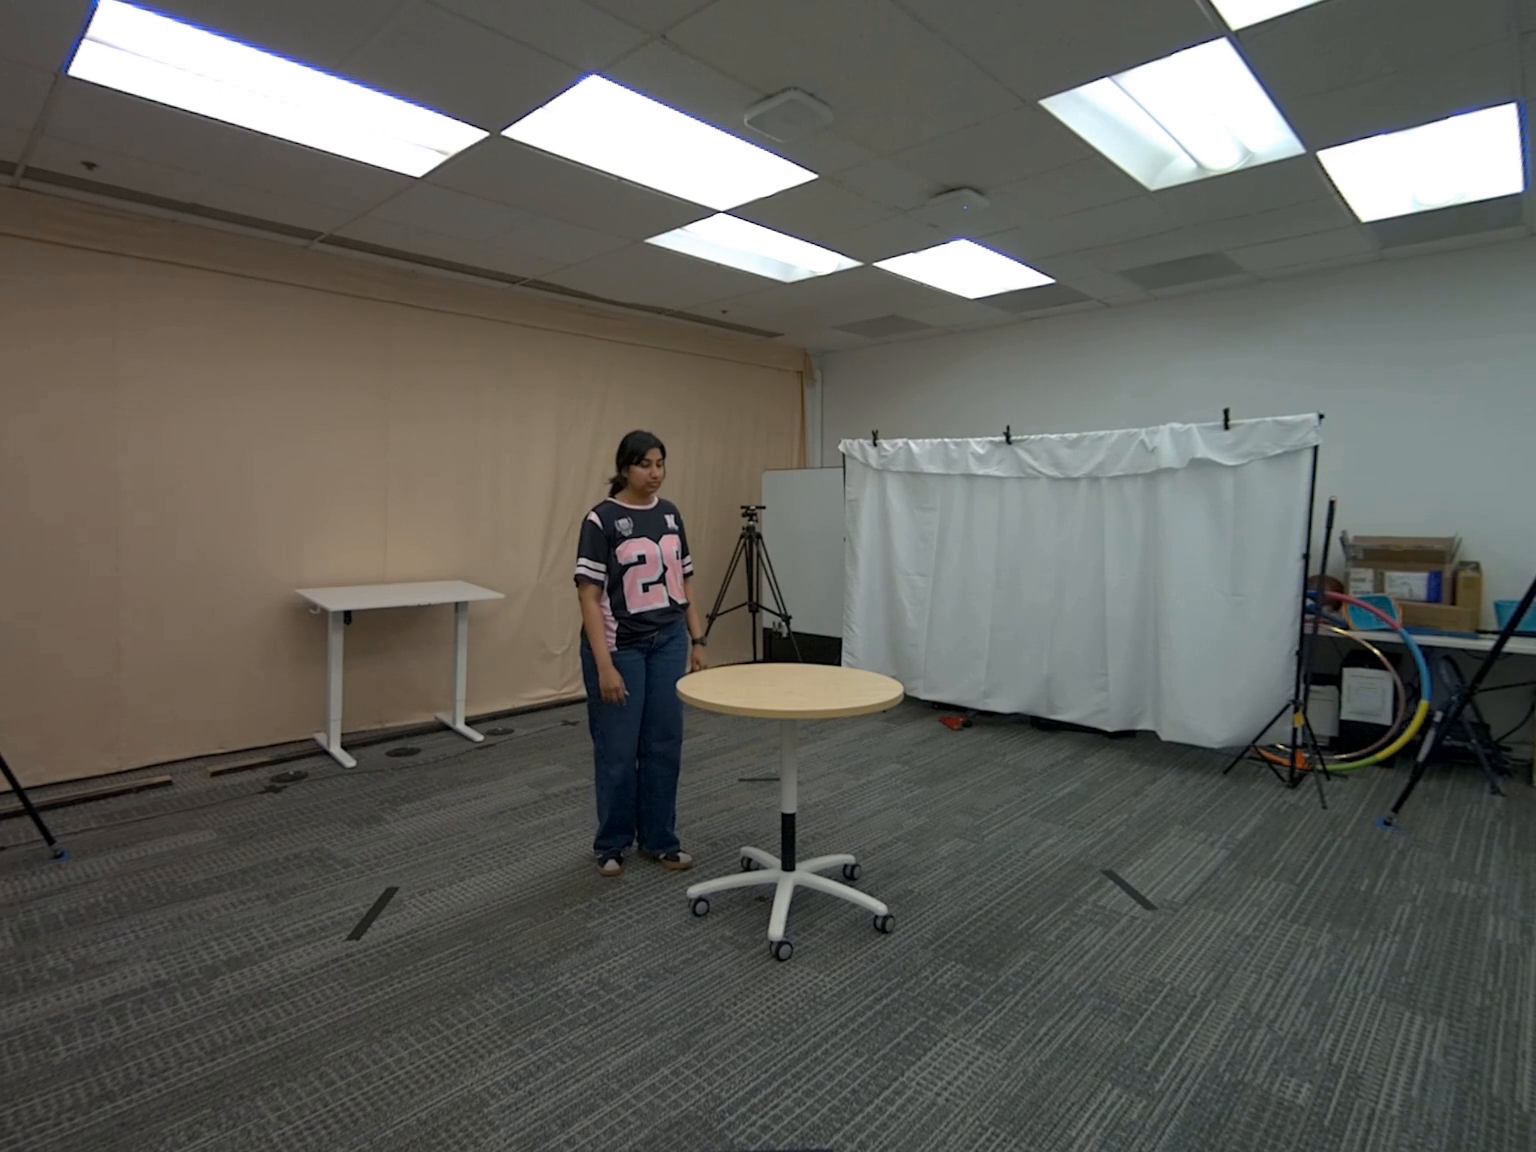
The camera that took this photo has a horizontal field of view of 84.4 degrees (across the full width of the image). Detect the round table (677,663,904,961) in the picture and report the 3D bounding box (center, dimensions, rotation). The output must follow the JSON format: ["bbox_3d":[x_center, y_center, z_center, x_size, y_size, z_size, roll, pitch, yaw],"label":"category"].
[{"bbox_3d":[0.076,0.763,2.885,0.763,0.792,0.767,0,4,-2],"label":"round table"}]
